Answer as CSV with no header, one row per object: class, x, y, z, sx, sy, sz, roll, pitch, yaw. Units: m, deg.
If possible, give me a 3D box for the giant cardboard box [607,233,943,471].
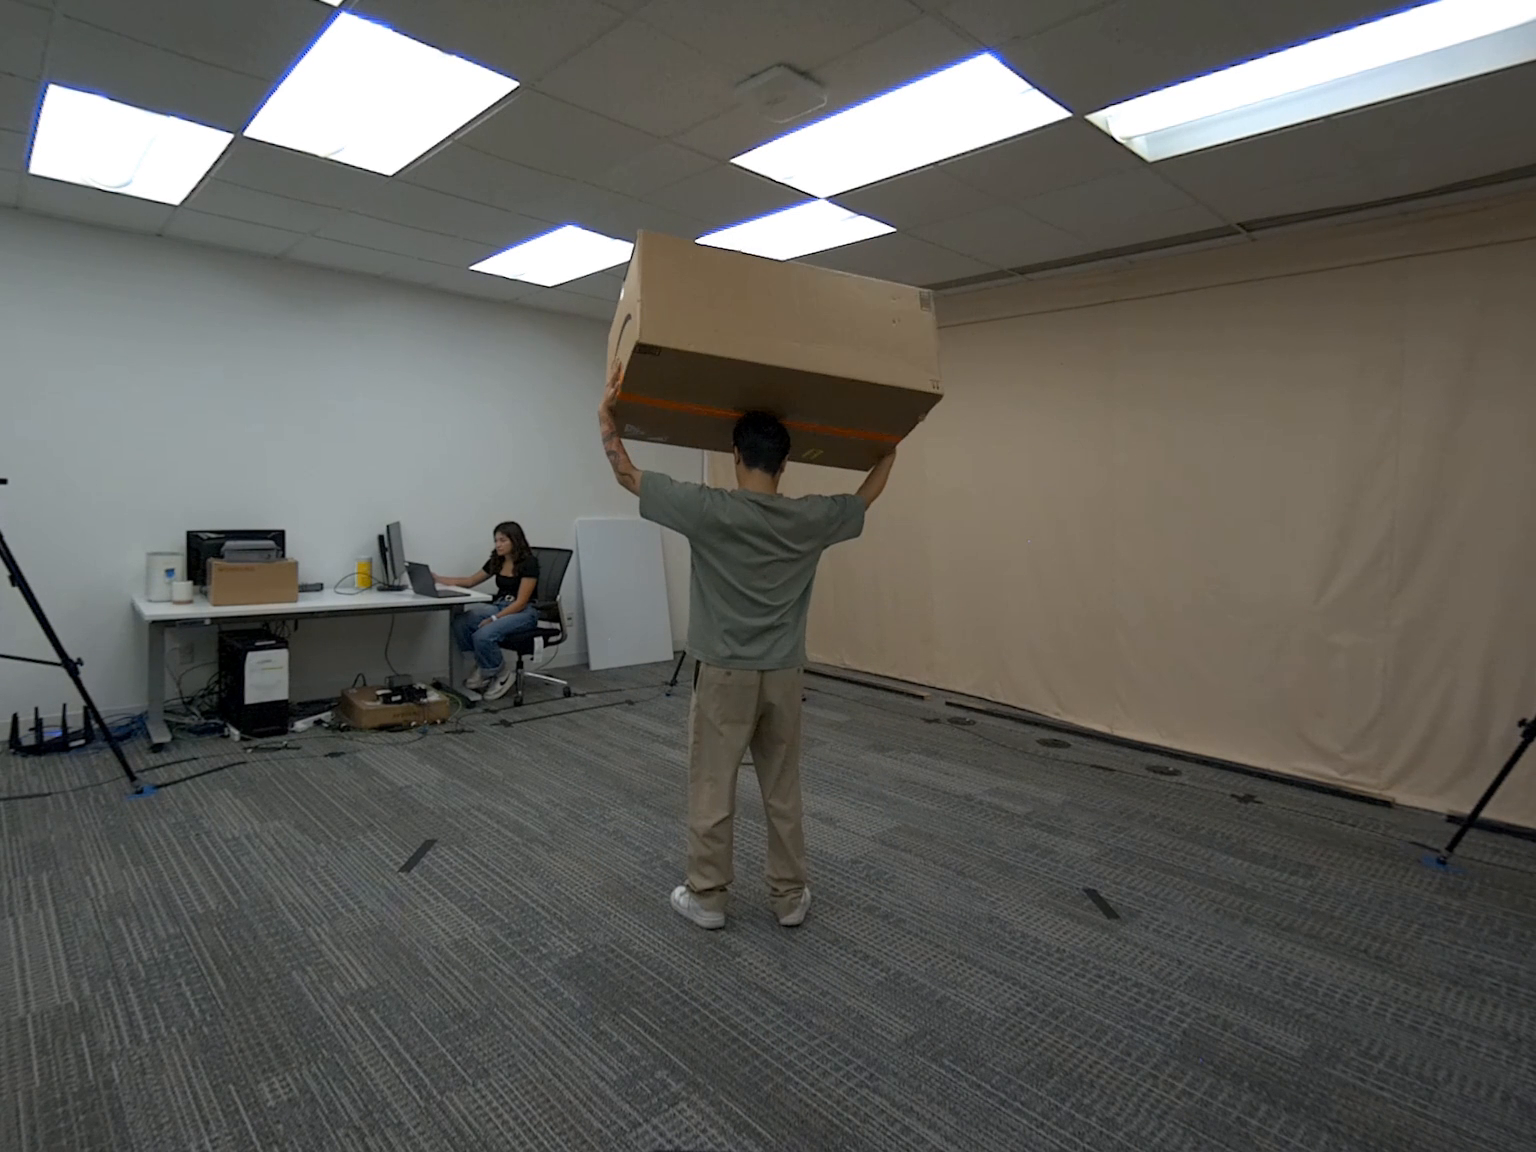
giant cardboard box,-0.013,-0.722,2.907,1.011,0.433,0.577,6,-21,-17
